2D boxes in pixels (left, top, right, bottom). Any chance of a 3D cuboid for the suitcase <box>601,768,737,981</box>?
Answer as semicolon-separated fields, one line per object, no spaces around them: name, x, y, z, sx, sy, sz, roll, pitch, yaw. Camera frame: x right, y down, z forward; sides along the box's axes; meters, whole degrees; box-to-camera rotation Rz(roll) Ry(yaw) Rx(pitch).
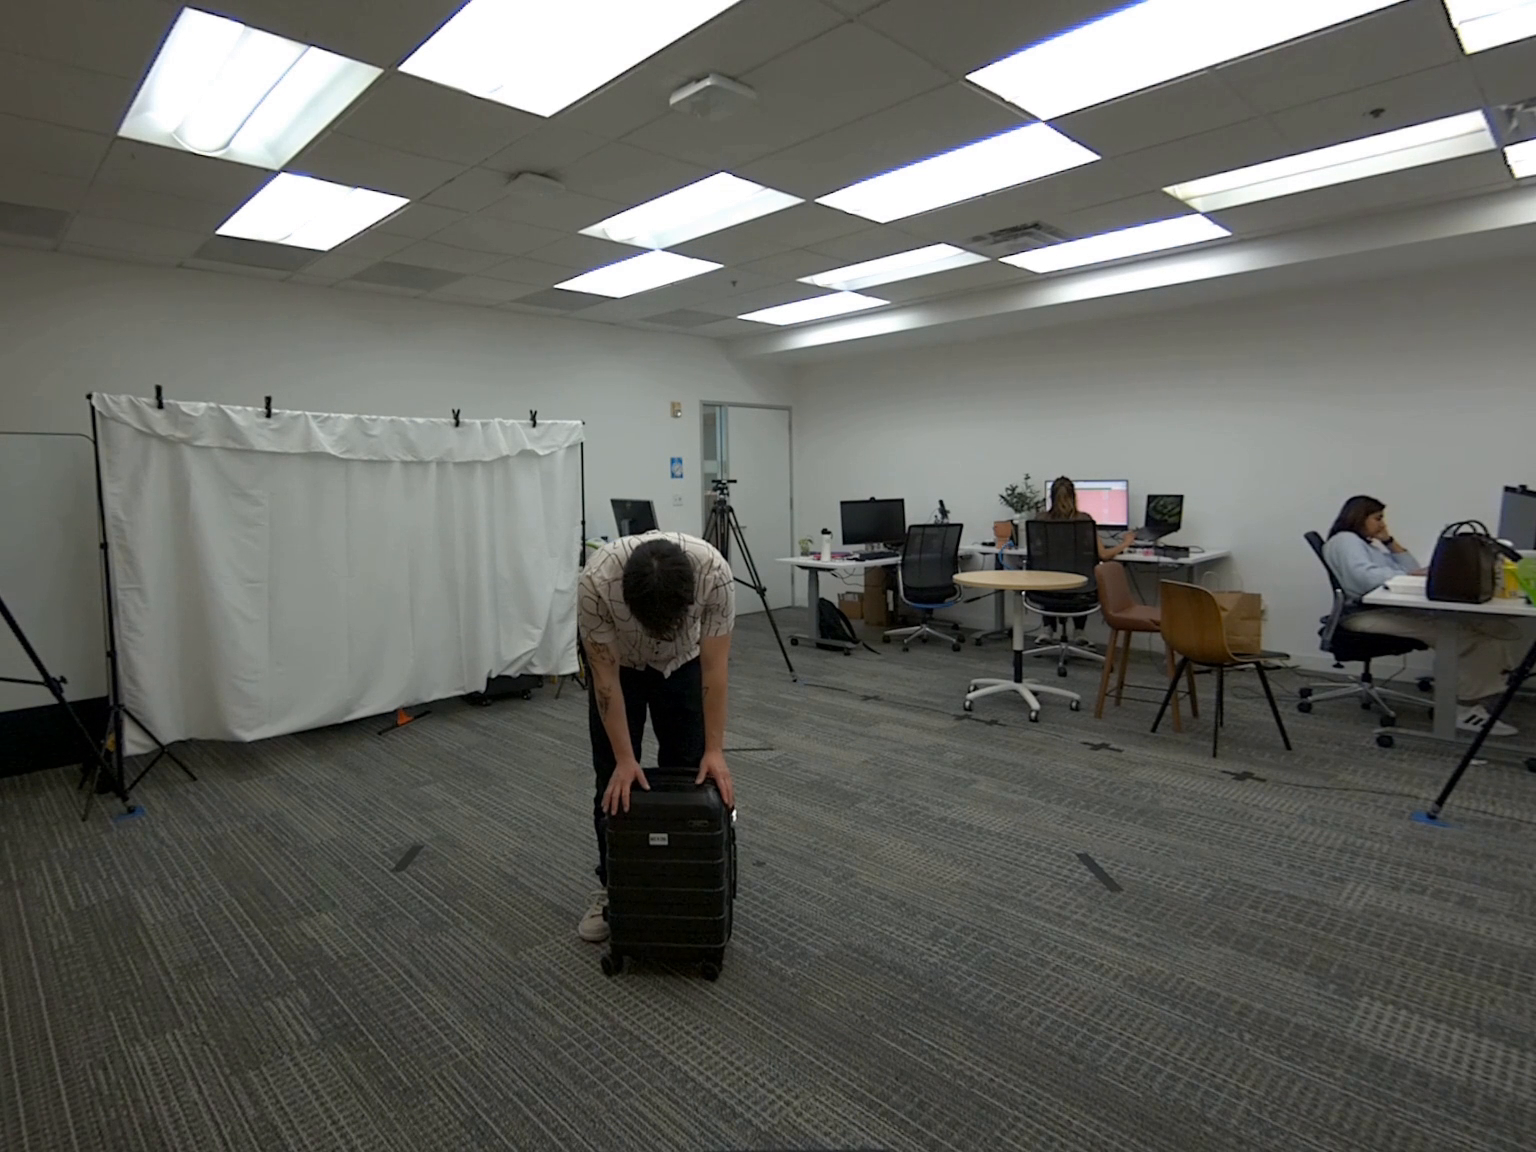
suitcase;-0.280;0.853;2.496;0.377;0.546;0.248;0;7;5
